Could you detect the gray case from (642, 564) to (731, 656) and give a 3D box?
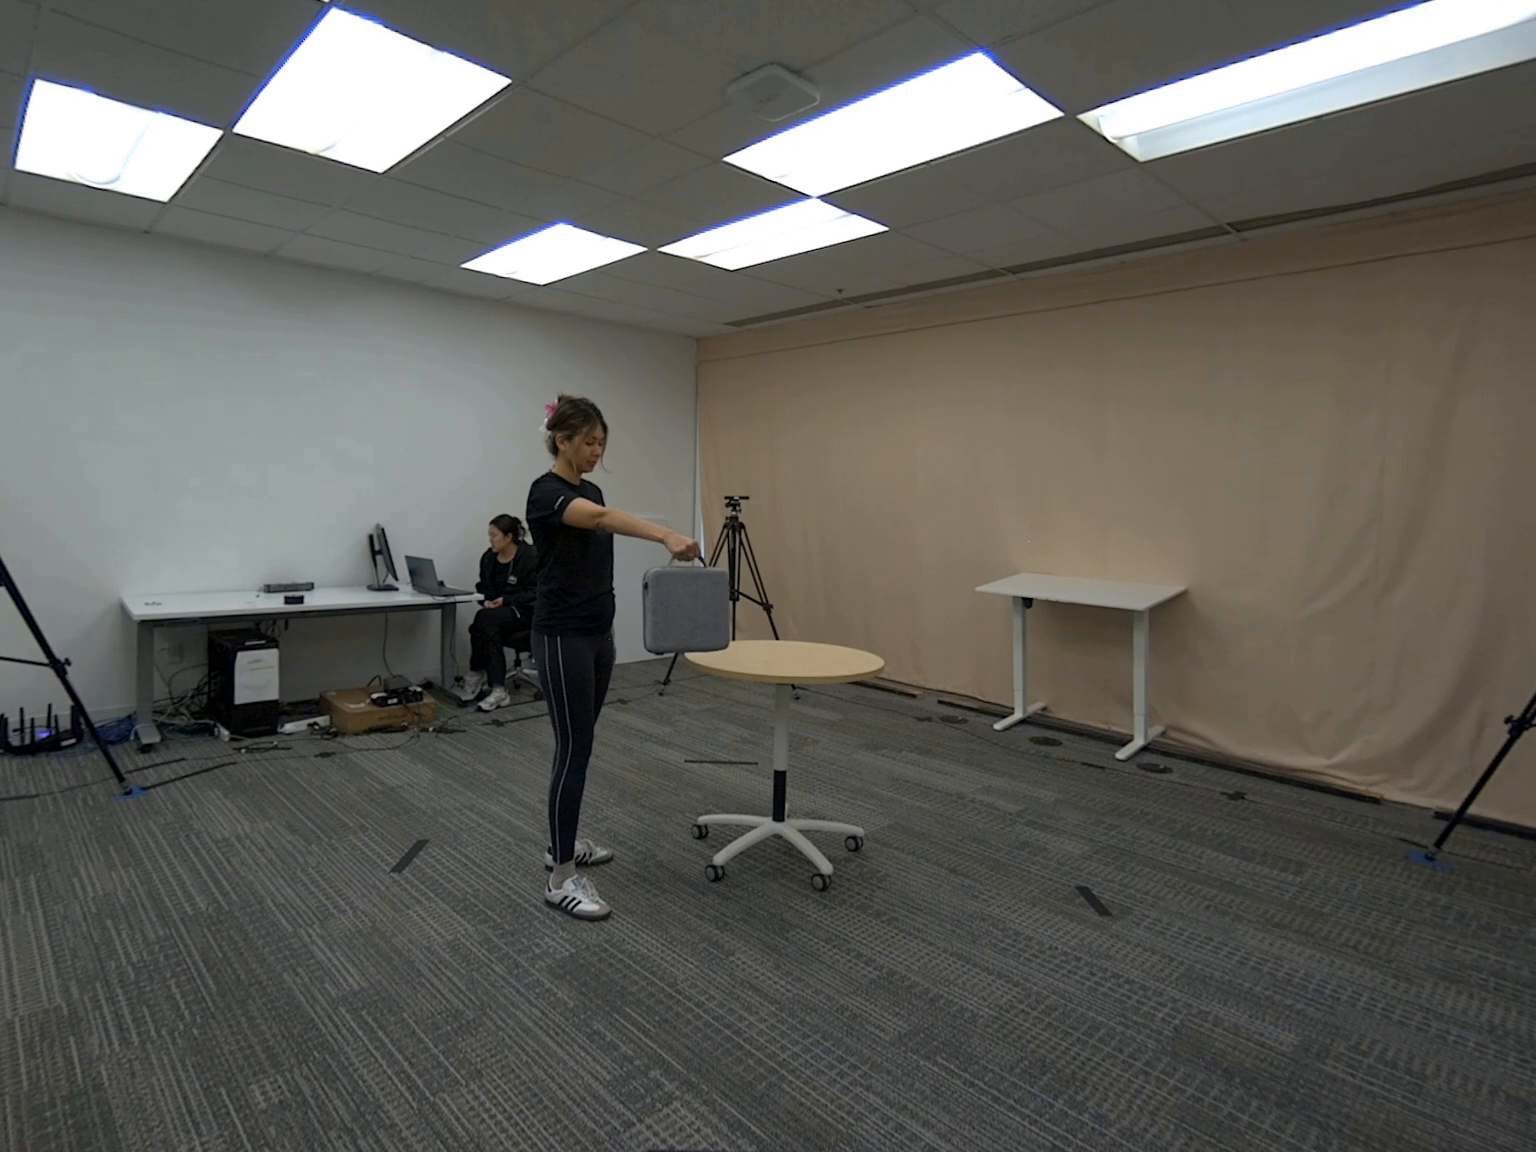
[{"bbox_3d":[-0.243,0.099,2.522,0.254,0.261,0.105,-1,-2,-16],"label":"gray case"}]
